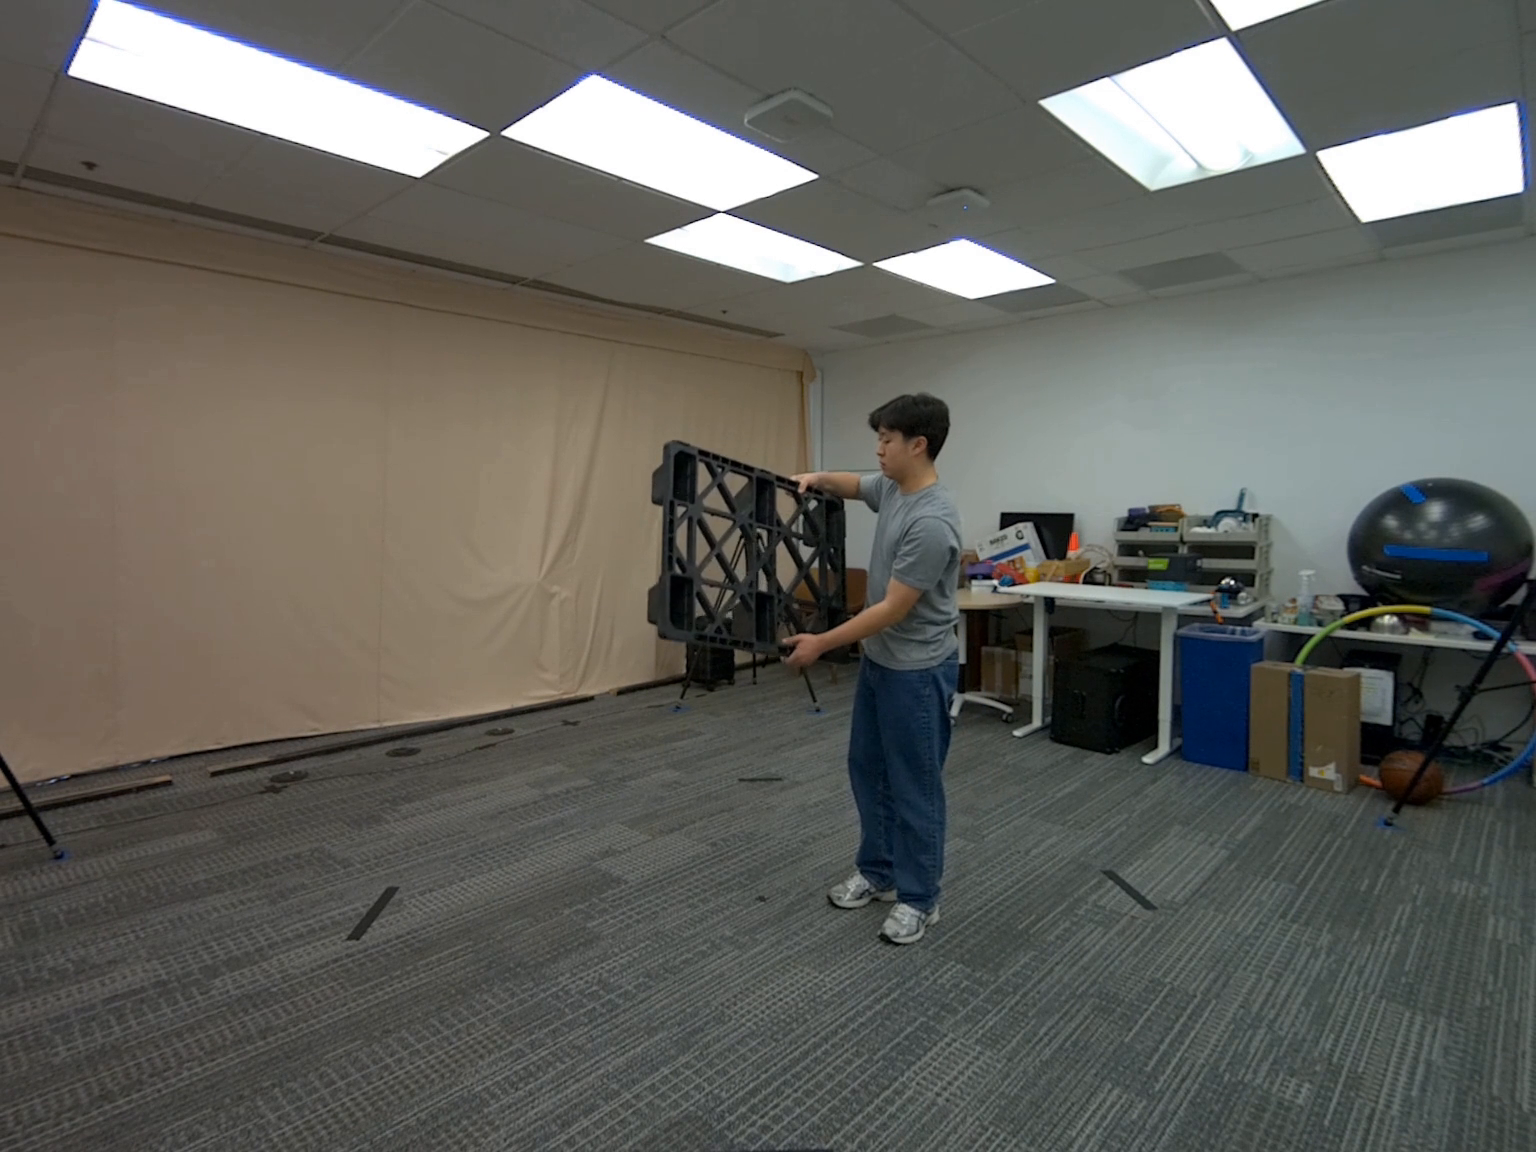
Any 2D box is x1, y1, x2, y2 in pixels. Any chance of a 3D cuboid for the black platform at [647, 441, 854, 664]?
[{"bbox_3d":[-0.052,-0.031,2.729,0.777,0.611,0.147,14,-20,-41],"label":"black platform"}]
